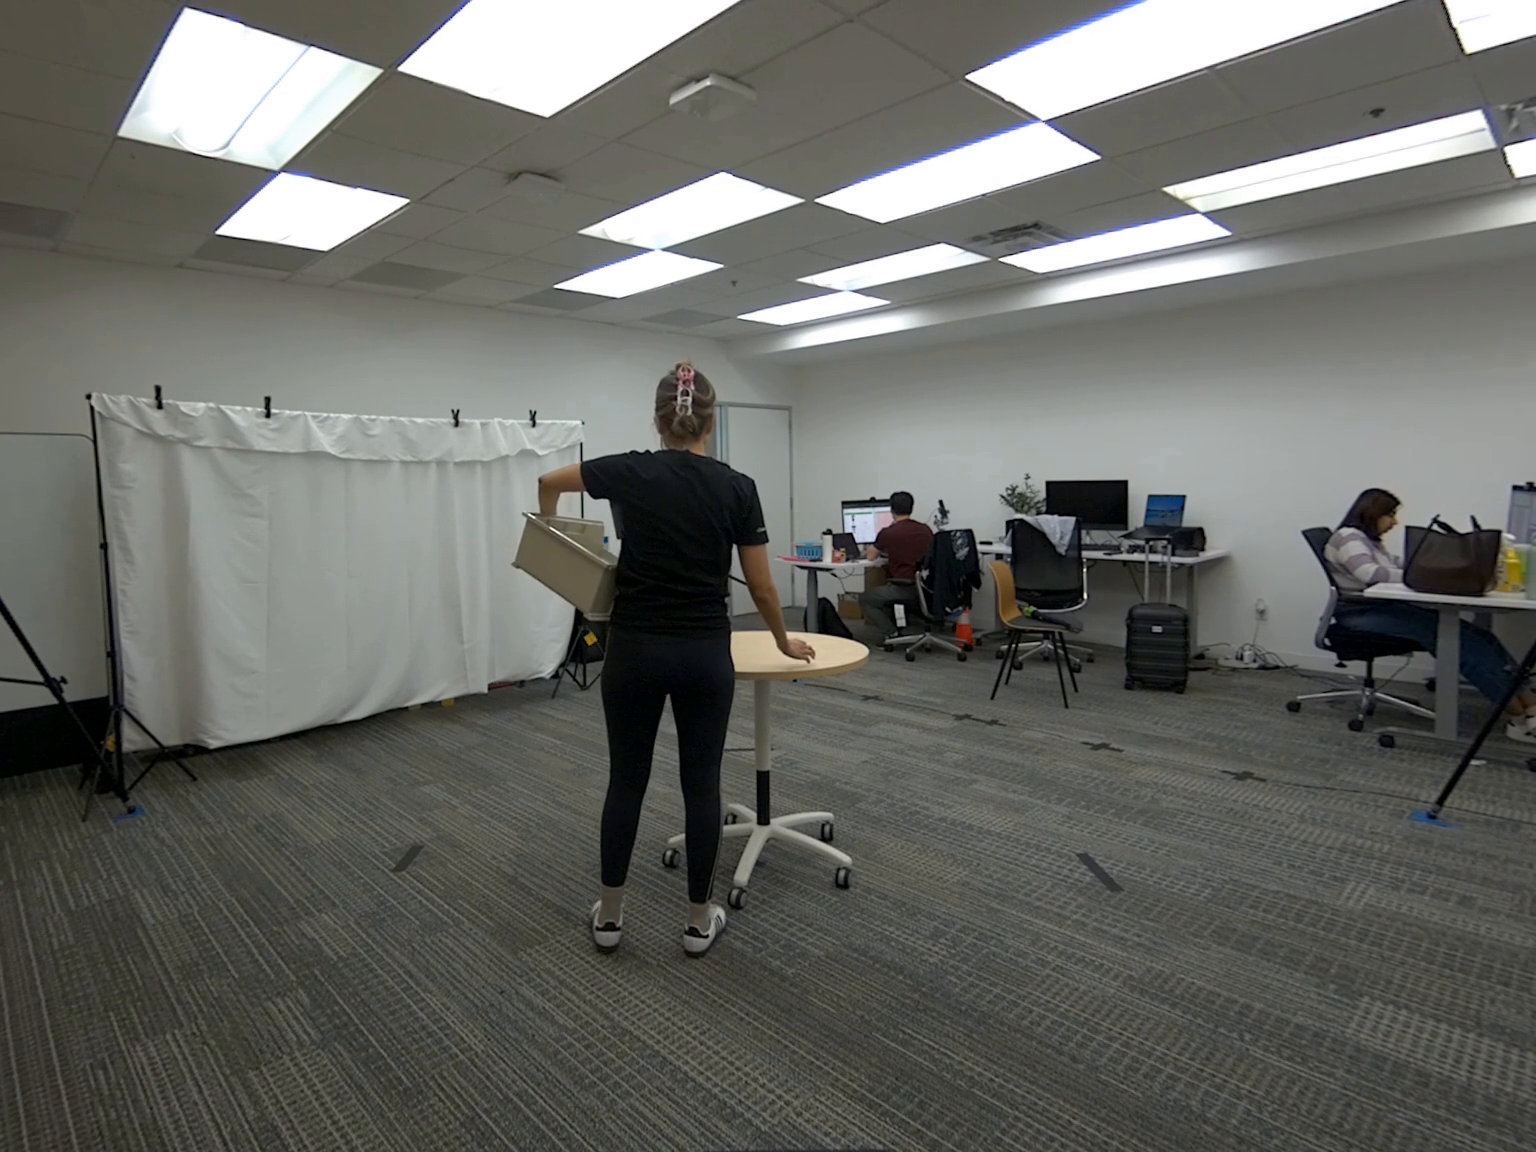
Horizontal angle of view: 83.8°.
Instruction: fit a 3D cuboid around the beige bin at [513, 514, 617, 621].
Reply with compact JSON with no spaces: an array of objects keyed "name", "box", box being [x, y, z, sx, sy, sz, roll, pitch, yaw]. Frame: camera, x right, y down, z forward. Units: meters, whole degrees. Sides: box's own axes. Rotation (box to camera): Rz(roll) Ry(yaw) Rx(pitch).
[{"name":"beige bin","box":[-0.529,-0.025,2.701,0.438,0.188,0.366,29,15,35]}]
